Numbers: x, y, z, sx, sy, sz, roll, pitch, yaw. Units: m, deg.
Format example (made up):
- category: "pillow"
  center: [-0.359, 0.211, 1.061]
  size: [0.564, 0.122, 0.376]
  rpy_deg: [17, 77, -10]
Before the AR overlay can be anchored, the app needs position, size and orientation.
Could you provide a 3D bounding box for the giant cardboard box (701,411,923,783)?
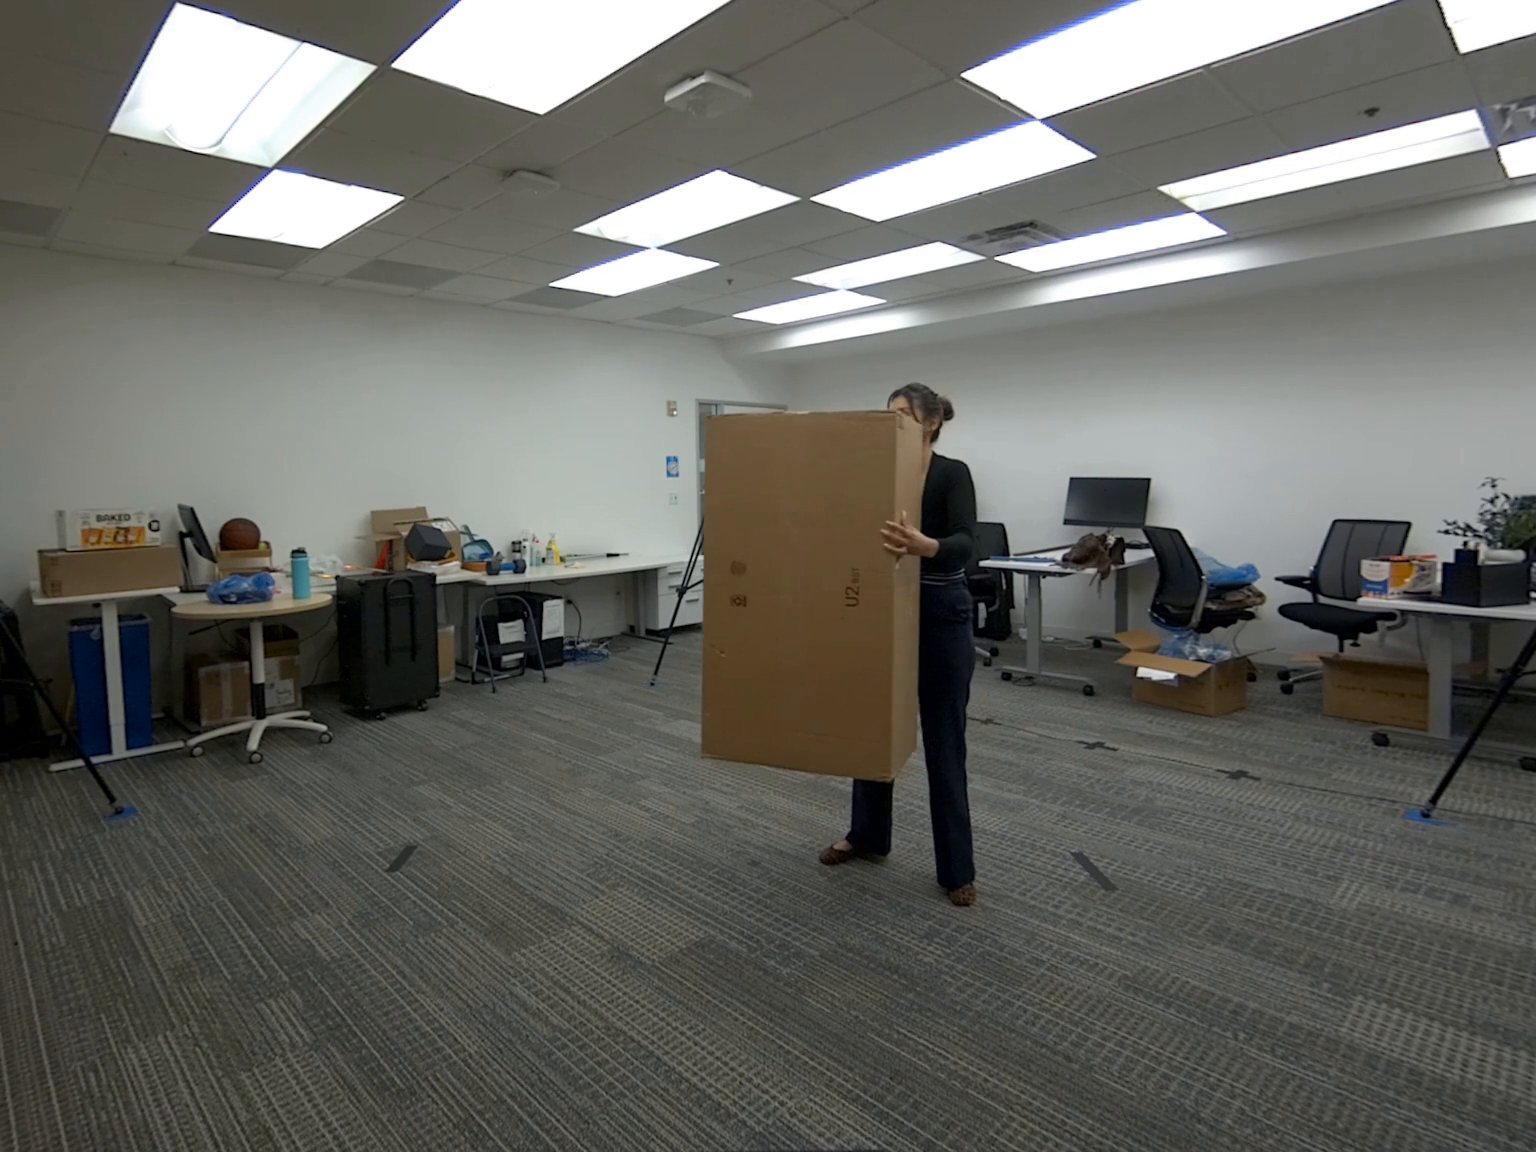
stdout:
- category: "giant cardboard box"
  center: [0.143, 0.033, 2.629]
  size: [0.589, 1.025, 0.418]
  rpy_deg: [1, 1, 21]
